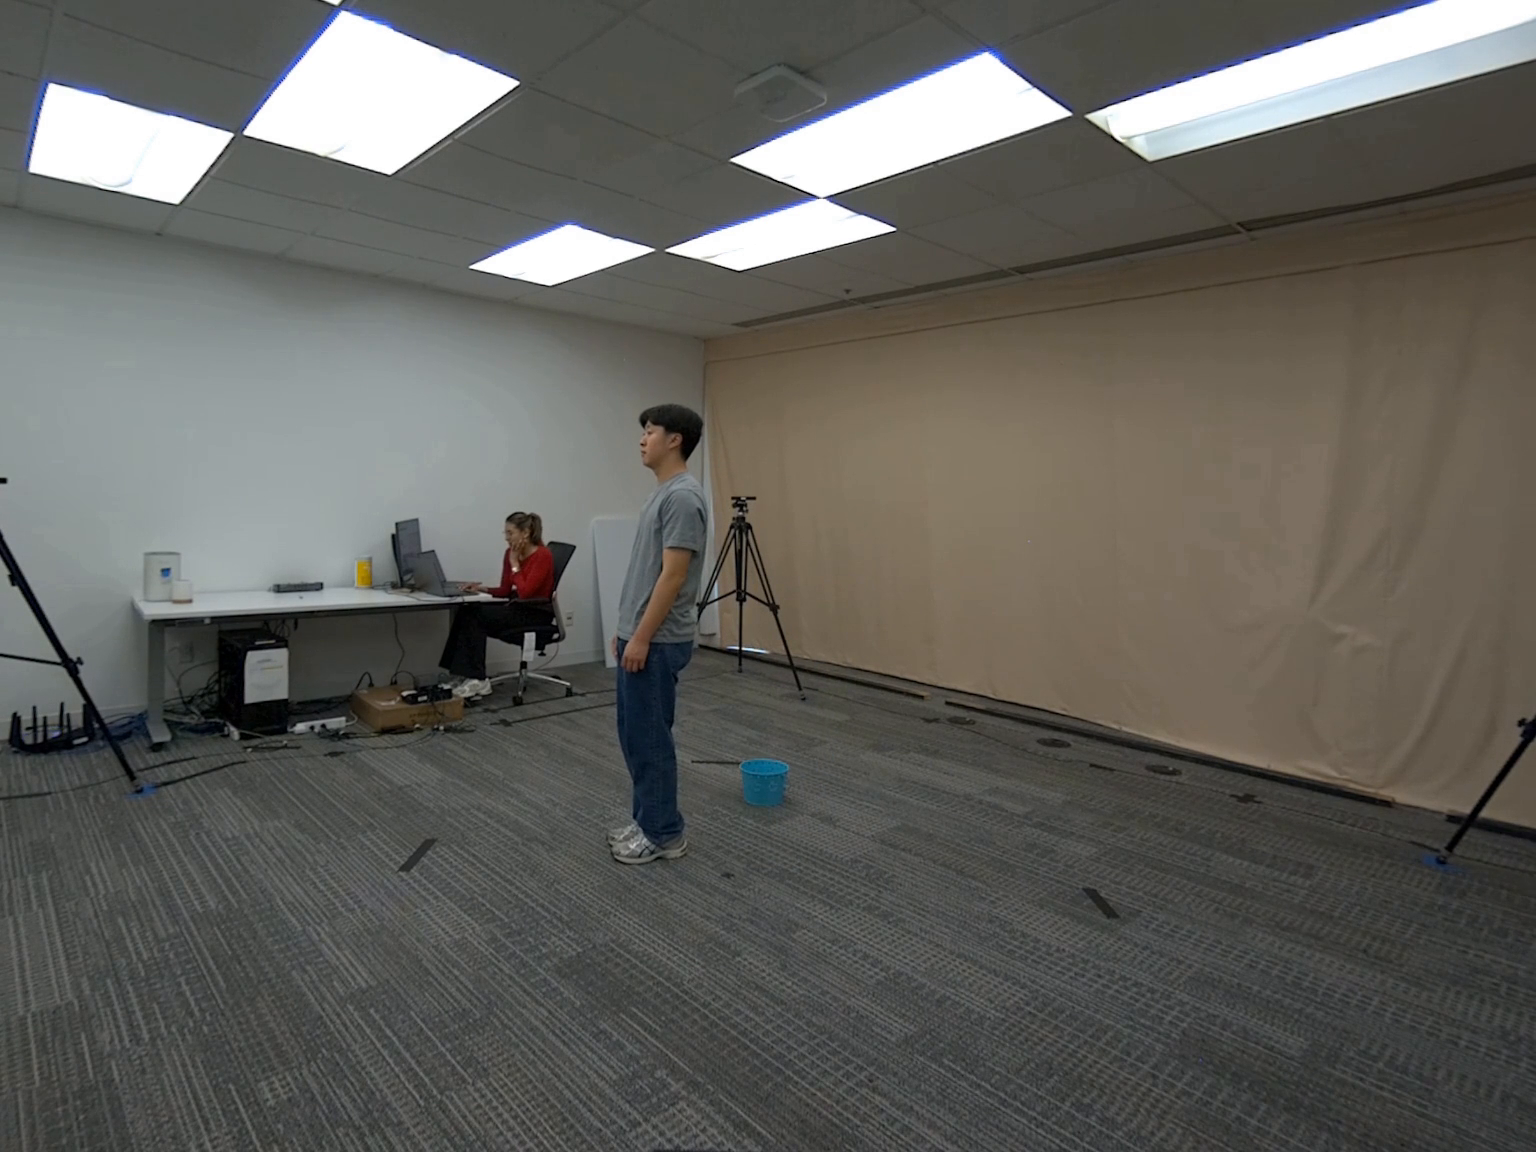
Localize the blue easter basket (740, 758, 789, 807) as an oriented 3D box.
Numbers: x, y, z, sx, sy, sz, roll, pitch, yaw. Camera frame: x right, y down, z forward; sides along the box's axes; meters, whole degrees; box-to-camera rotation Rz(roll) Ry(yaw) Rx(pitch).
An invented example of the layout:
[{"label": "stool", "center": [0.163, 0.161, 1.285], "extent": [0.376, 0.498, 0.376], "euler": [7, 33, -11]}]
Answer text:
[{"label": "blue easter basket", "center": [-0.022, 0.960, 3.918], "extent": [0.243, 0.155, 0.244], "euler": [2, 4, -1]}]
